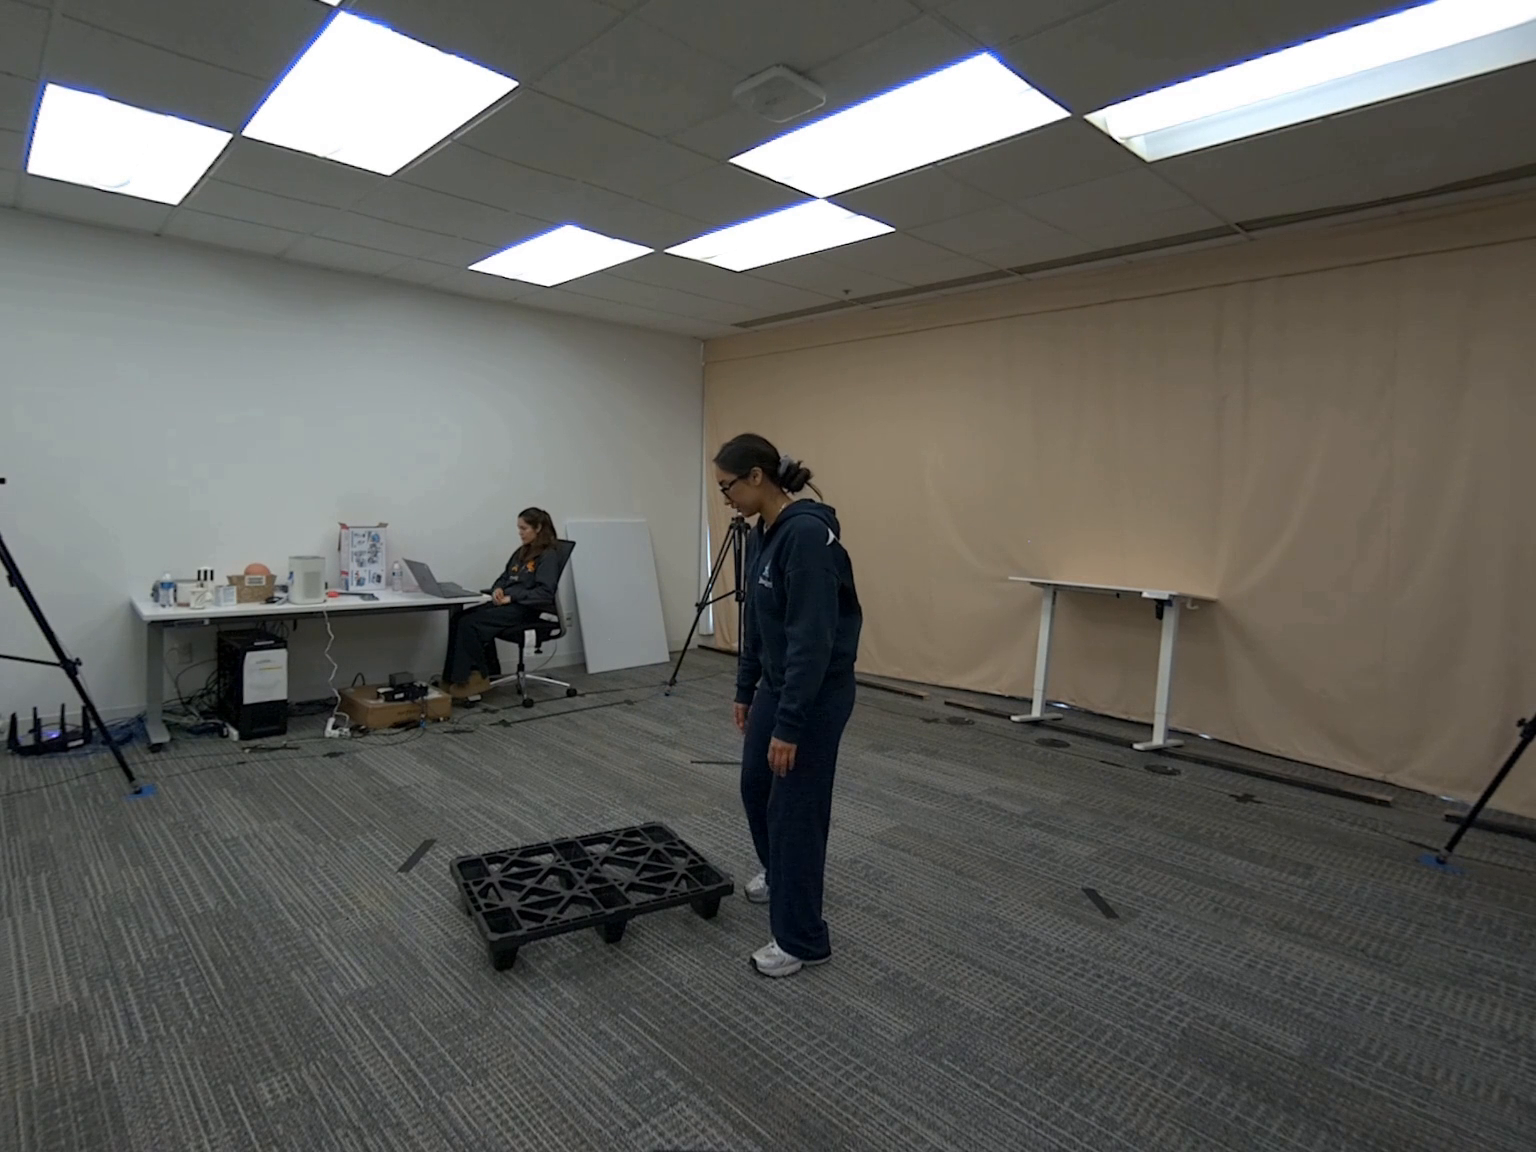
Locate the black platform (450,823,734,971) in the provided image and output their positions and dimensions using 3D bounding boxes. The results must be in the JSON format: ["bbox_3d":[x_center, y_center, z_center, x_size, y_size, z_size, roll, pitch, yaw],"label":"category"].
[{"bbox_3d":[-0.598,1.055,2.820,0.789,0.143,0.619,-2,7,-30],"label":"black platform"}]
